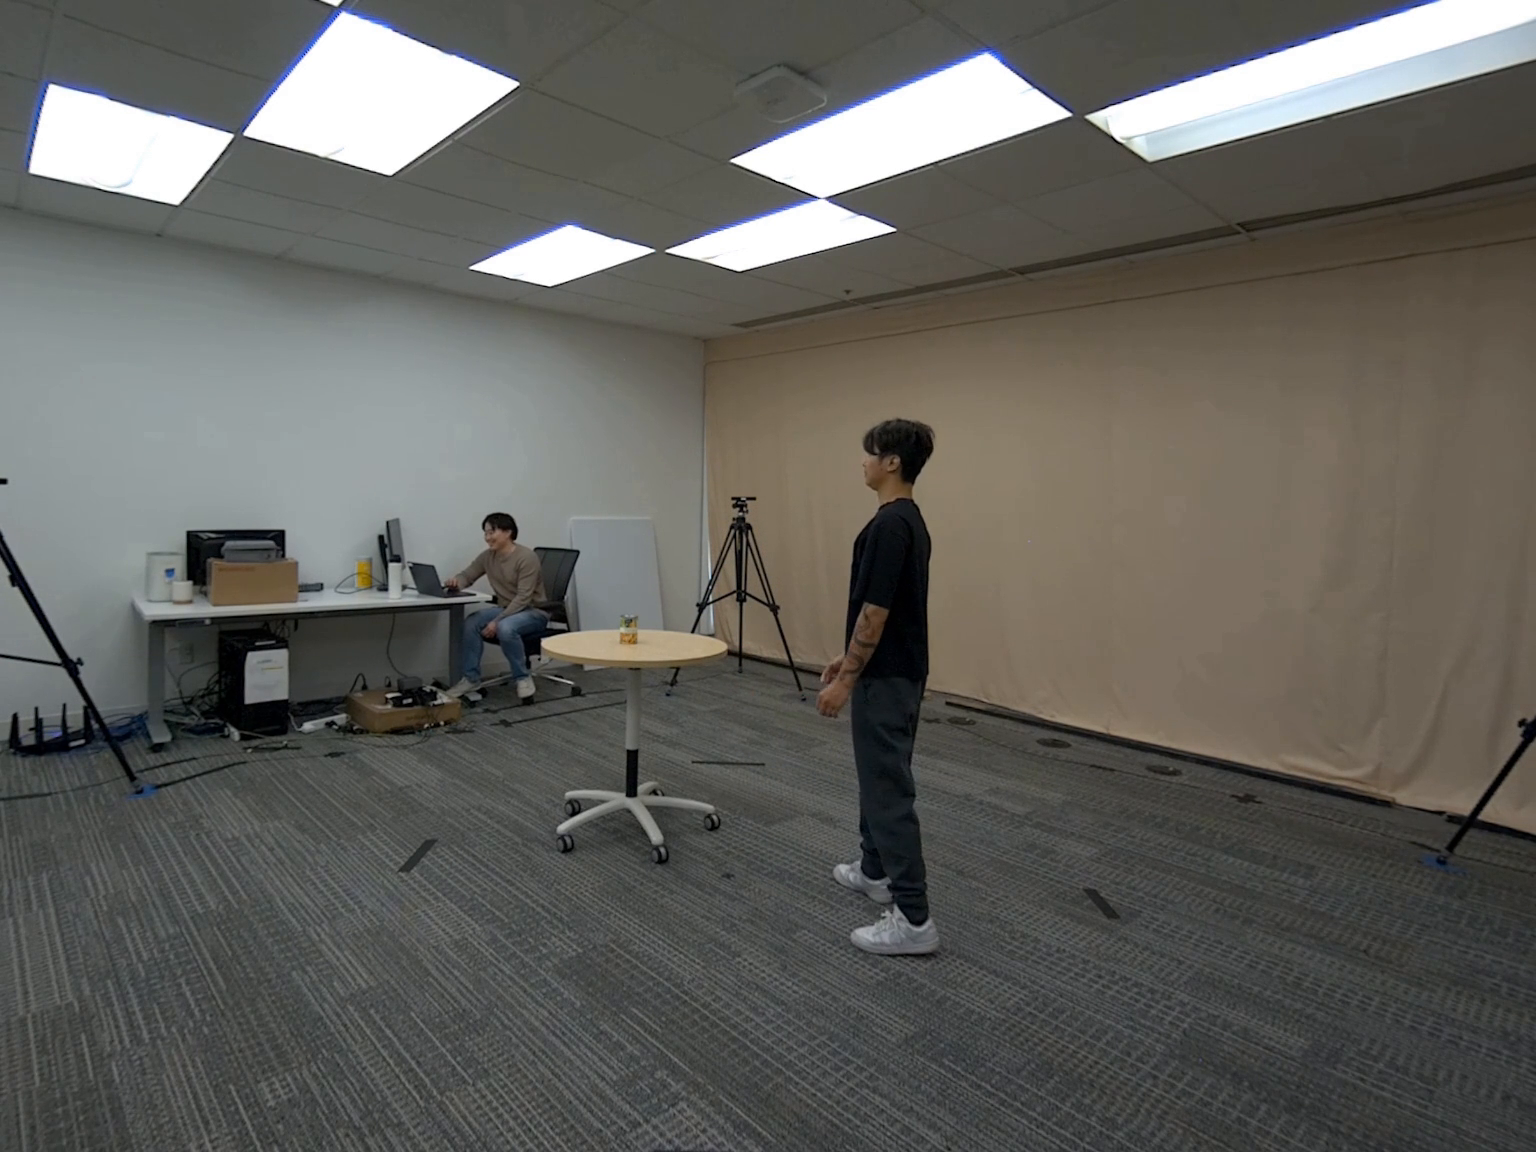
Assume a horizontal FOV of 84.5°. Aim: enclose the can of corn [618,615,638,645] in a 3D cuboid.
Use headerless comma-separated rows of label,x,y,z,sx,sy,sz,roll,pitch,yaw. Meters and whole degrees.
can of corn,-0.590,0.223,3.493,0.074,0.111,0.074,3,0,-1
